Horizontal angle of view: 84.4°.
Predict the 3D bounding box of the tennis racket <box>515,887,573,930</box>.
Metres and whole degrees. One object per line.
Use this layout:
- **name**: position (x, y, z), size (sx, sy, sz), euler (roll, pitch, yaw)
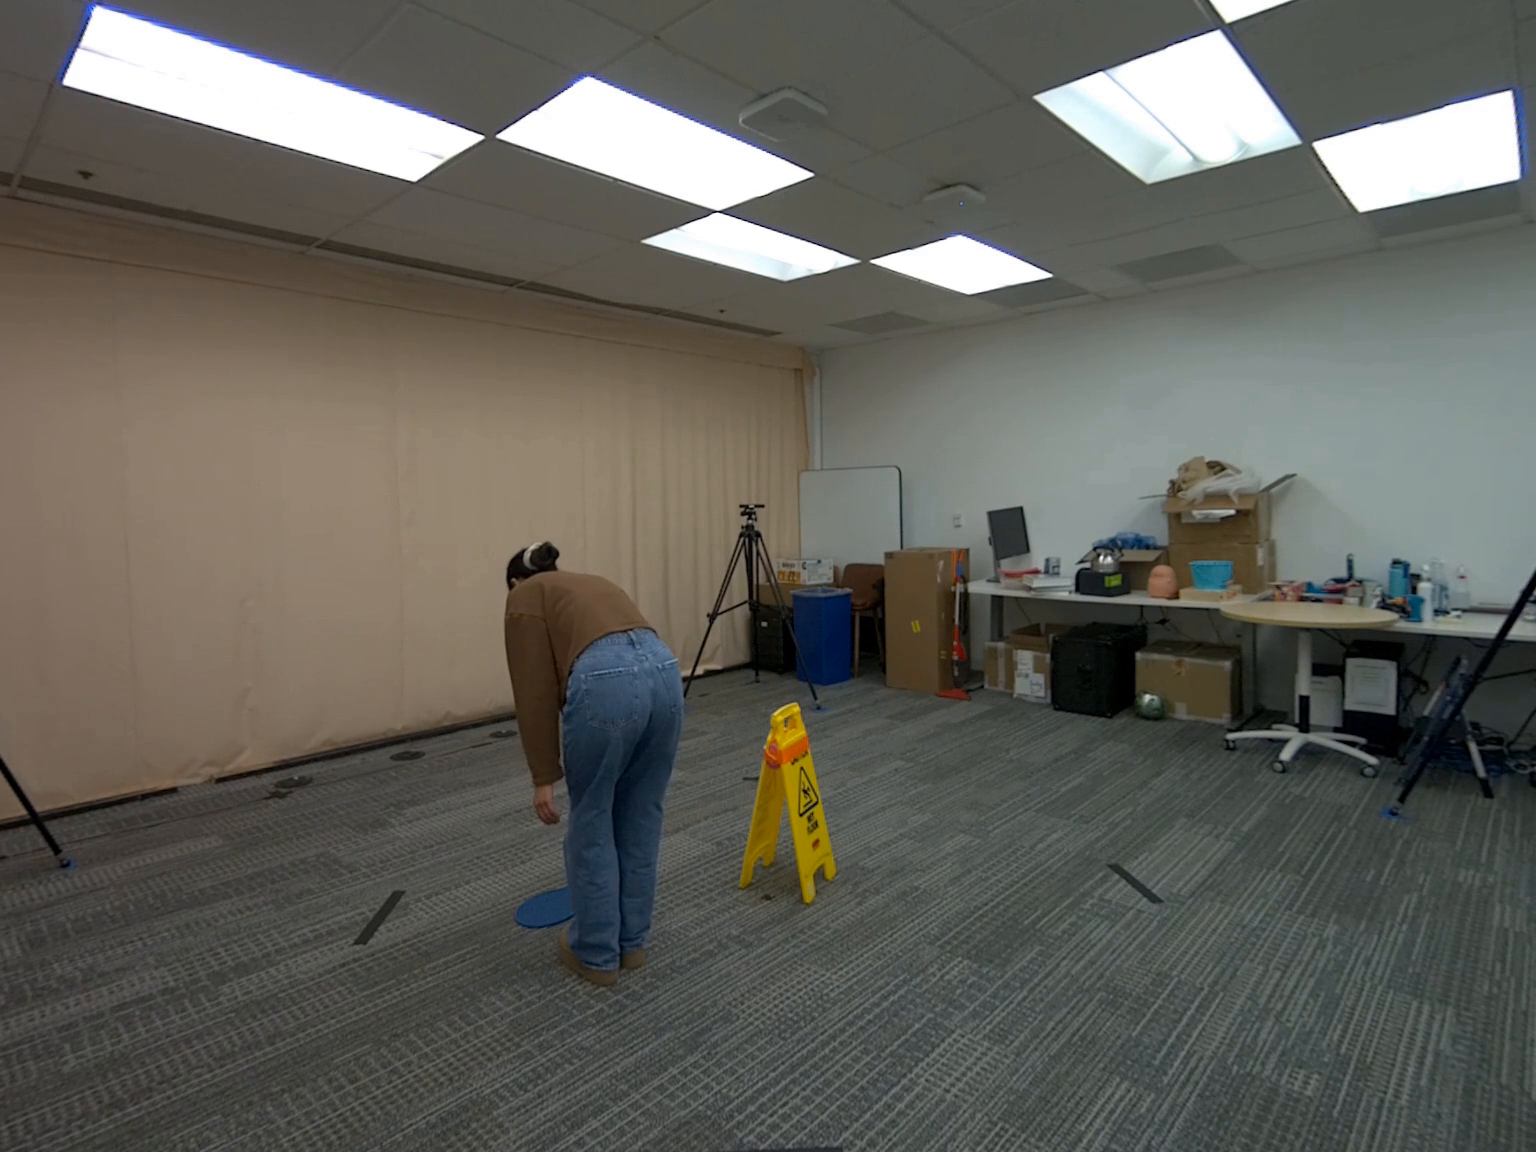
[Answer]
- **tennis racket**: position (-0.719, 1.144, 2.999), size (0.219, 0.031, 0.423), euler (2, 6, 25)
